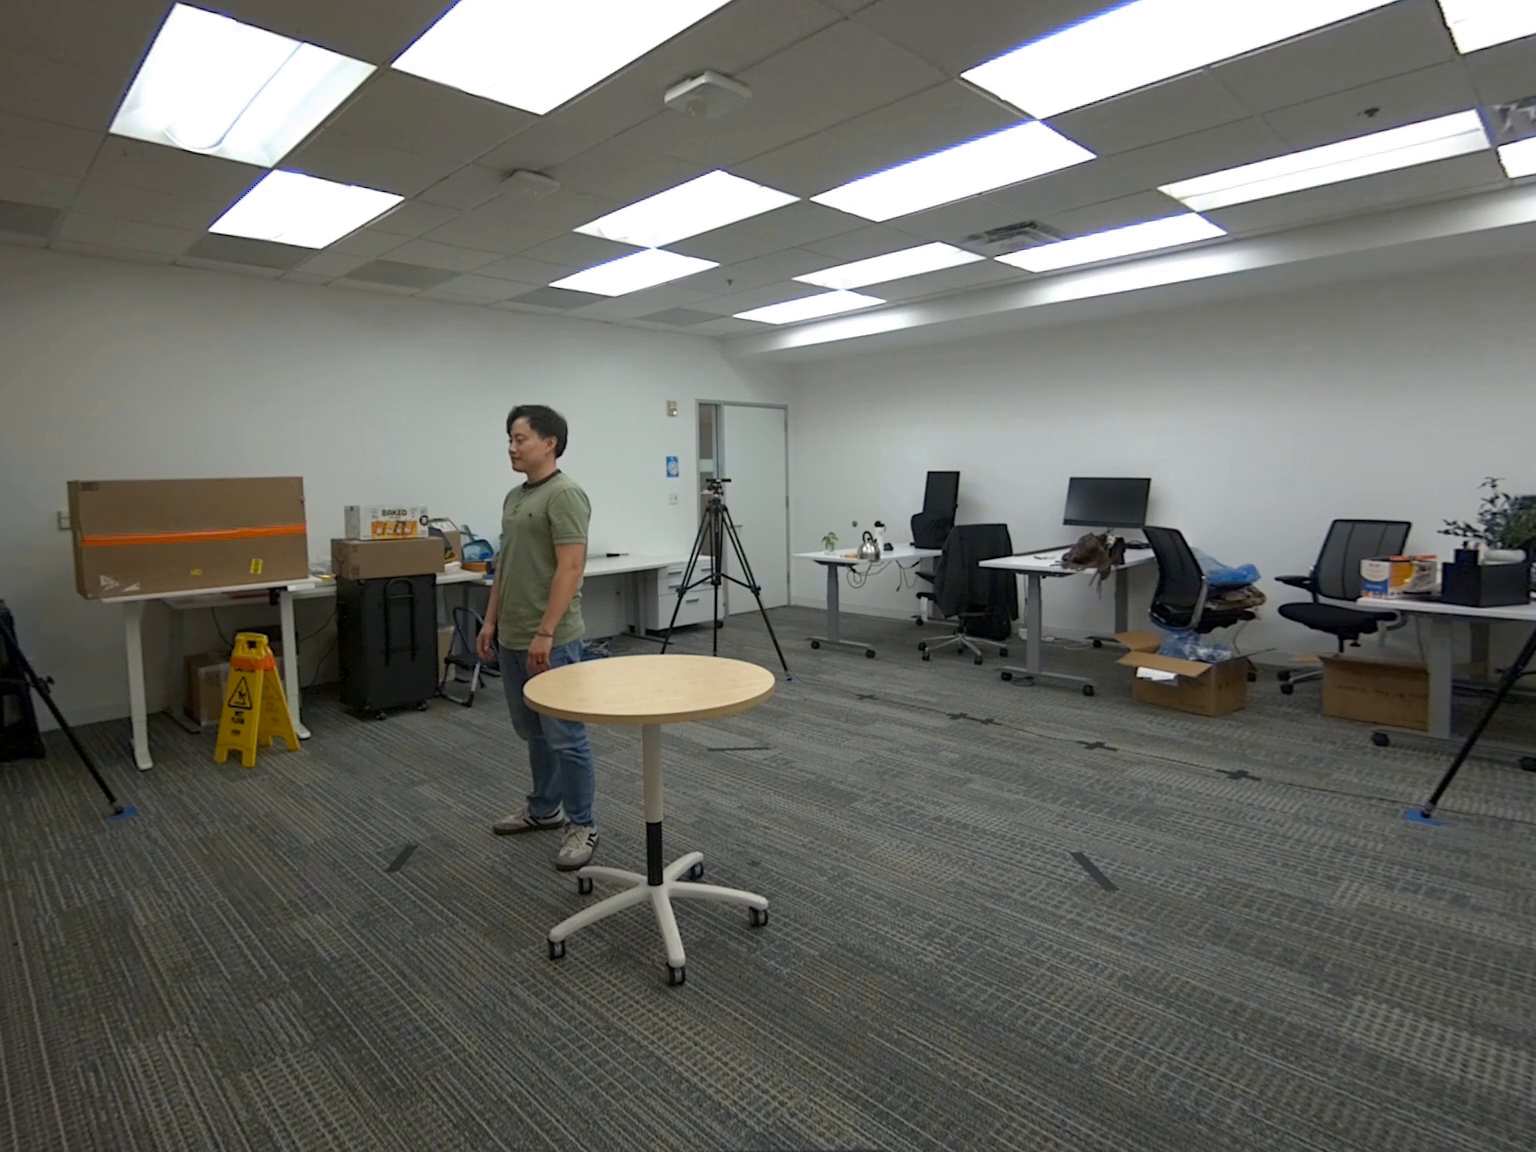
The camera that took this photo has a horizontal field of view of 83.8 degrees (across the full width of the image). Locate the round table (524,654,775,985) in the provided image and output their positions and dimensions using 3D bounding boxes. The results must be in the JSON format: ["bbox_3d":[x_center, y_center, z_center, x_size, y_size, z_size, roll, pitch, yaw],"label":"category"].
[{"bbox_3d":[-0.354,0.715,2.656,0.763,0.790,0.768,-1,5,-2],"label":"round table"}]
